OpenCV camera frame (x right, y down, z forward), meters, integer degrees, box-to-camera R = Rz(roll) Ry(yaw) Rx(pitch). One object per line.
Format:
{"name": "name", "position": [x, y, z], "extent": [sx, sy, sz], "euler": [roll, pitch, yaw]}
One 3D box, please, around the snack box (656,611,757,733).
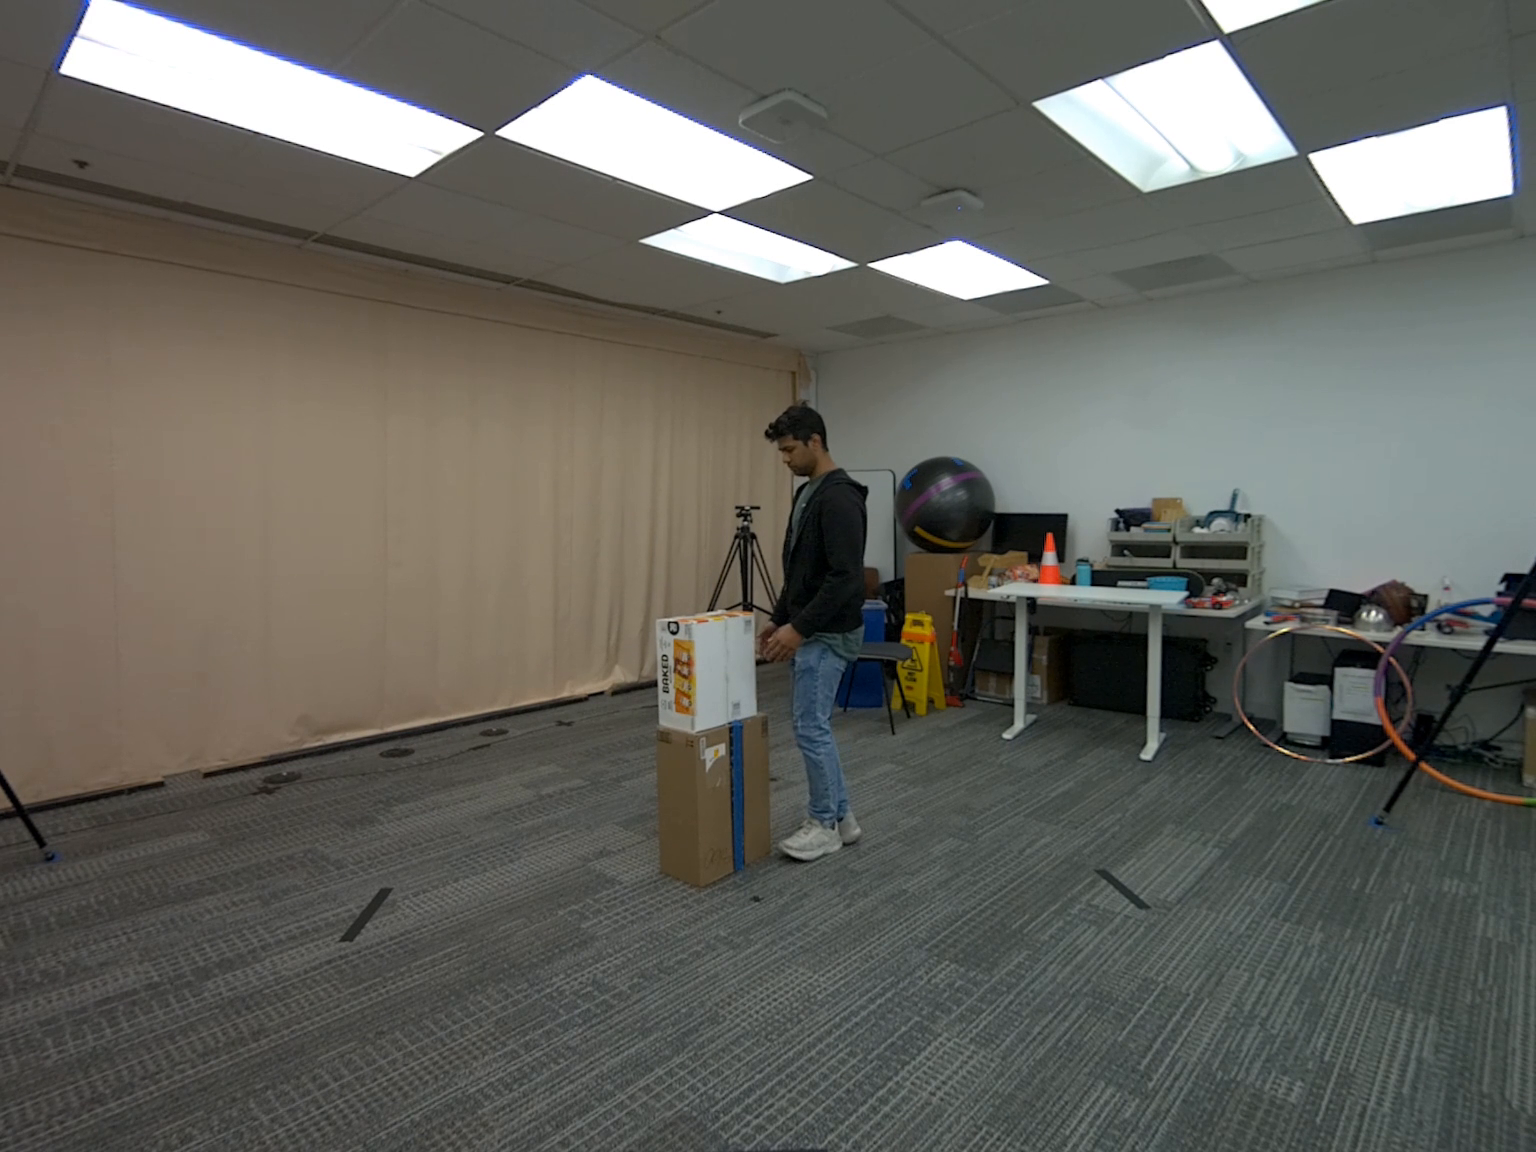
{"name": "snack box", "position": [-0.227, 0.356, 3.249], "extent": [0.212, 0.404, 0.330], "euler": [0, 3, 43]}
